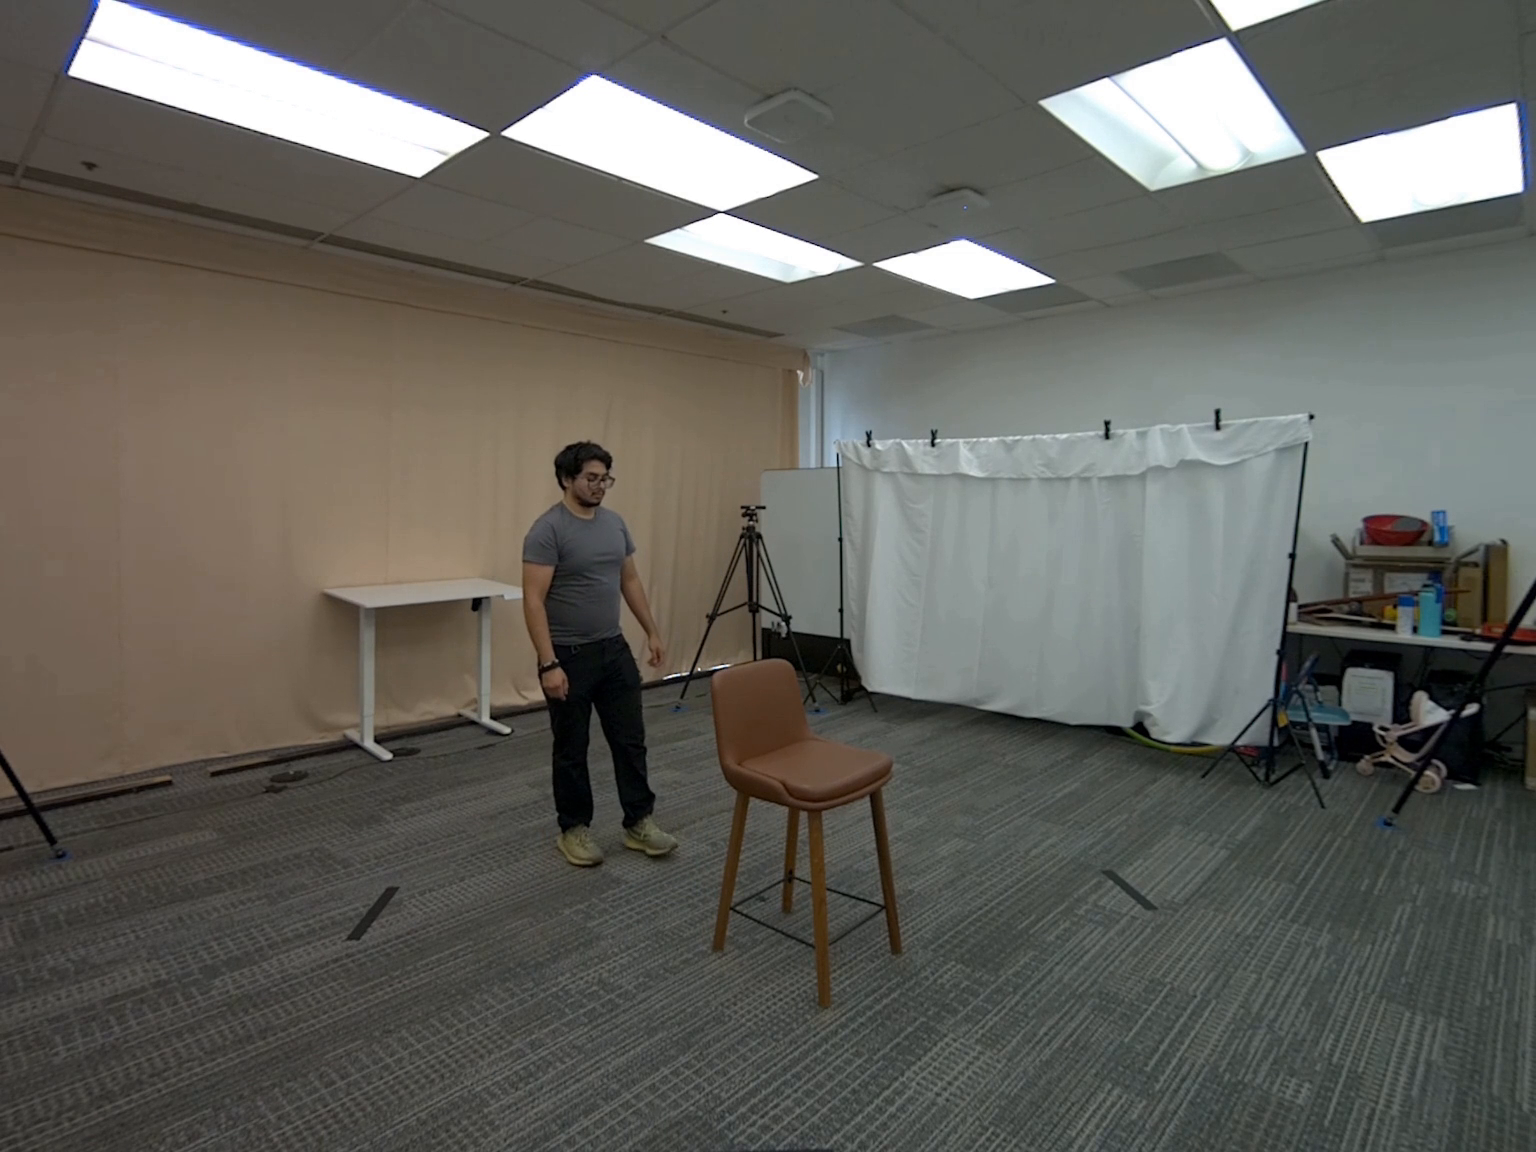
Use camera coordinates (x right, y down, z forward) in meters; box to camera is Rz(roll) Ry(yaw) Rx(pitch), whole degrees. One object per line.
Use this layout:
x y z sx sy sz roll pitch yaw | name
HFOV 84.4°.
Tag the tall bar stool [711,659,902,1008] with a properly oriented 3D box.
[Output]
0.115 0.741 2.606 0.483 0.888 0.442 1 3 42 | tall bar stool
